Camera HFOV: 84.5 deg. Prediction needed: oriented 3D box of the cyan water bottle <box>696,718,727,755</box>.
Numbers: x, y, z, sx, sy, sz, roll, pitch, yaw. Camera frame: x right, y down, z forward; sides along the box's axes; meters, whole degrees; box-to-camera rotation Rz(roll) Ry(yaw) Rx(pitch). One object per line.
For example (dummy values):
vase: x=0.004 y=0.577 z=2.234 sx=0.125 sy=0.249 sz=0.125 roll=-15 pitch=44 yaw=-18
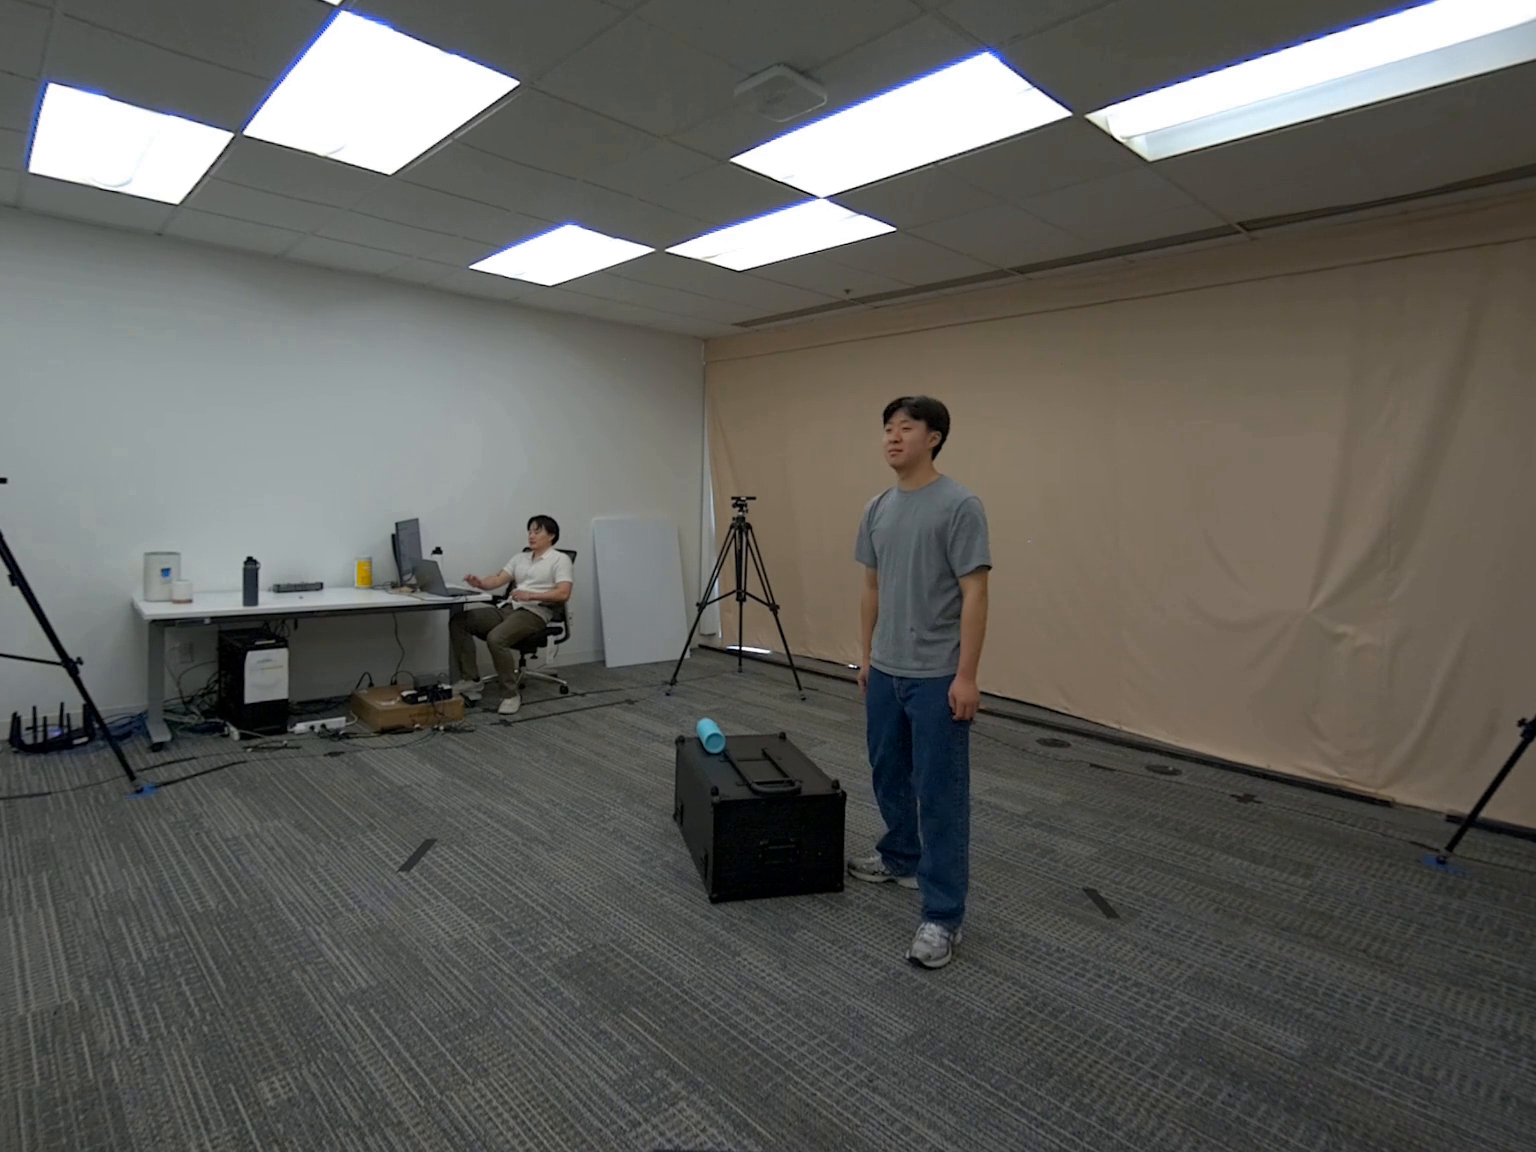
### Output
cyan water bottle: x=-0.249 y=0.660 z=3.531 sx=0.091 sy=0.092 sz=0.286 roll=1 pitch=4 yaw=-12
